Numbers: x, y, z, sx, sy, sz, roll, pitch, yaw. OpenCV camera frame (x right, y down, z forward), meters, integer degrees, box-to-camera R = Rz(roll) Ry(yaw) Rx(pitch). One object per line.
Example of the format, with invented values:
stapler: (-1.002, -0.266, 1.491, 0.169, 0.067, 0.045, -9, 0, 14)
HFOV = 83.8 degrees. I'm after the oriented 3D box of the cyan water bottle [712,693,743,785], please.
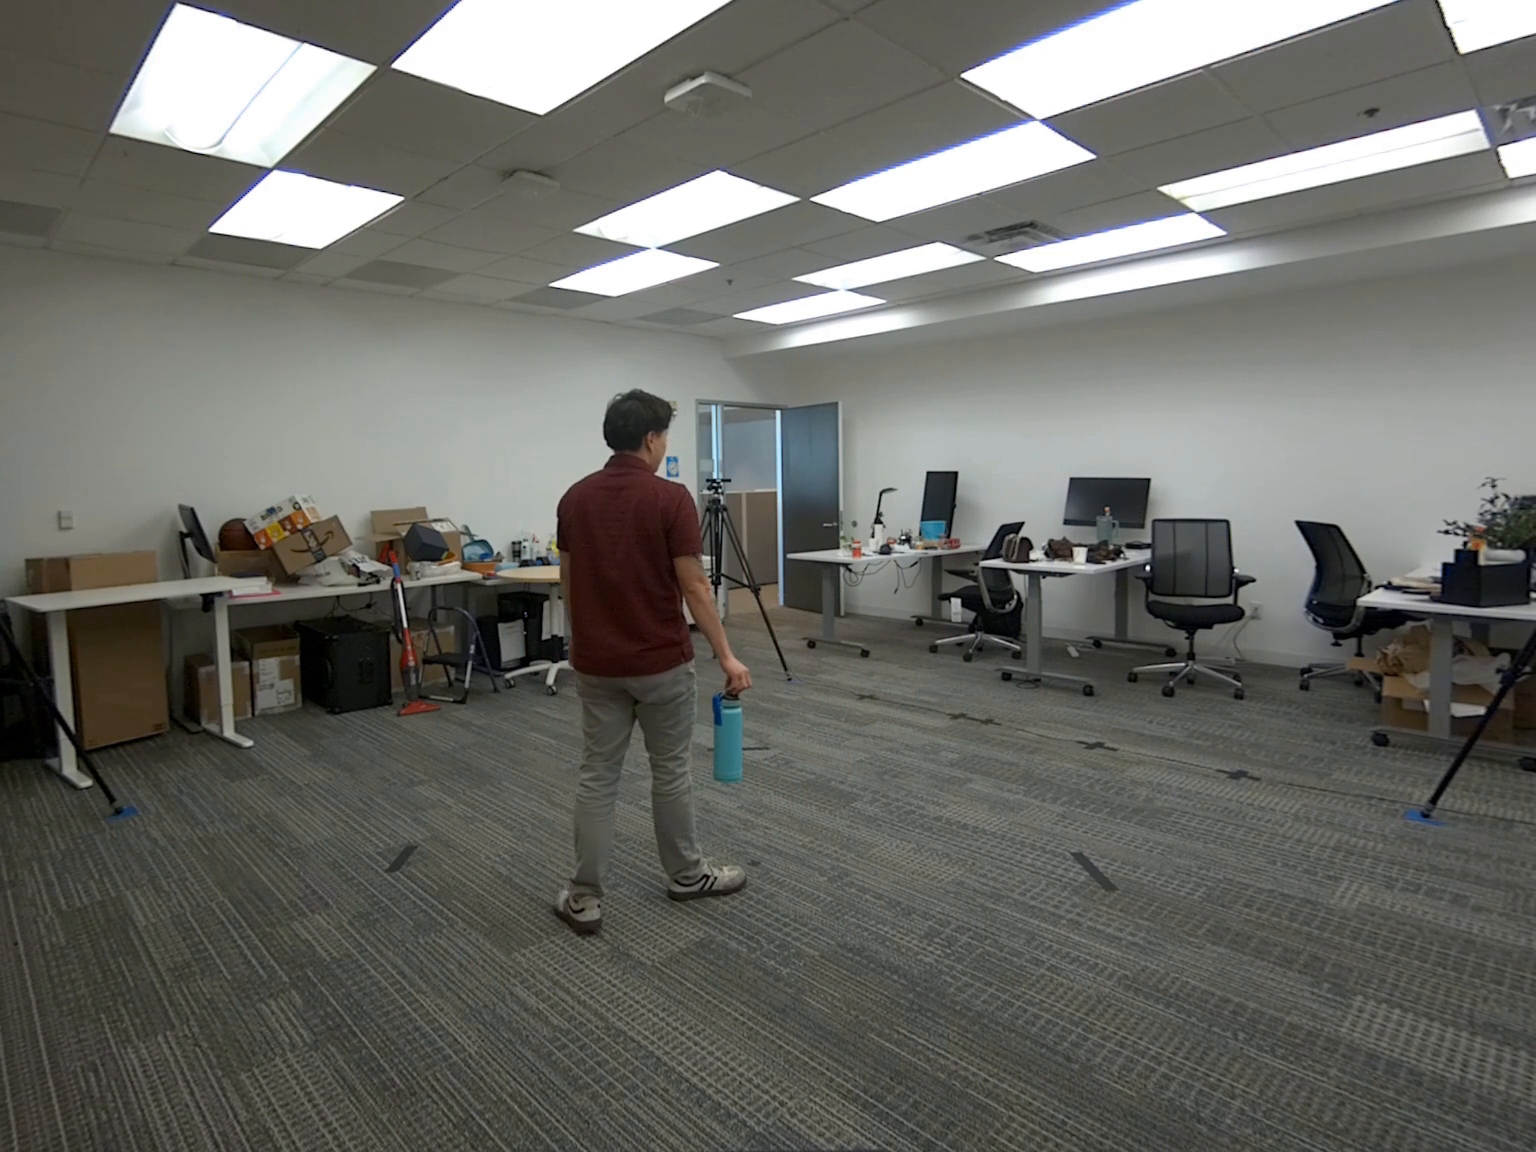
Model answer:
cyan water bottle: (-0.126, 0.491, 2.673, 0.092, 0.283, 0.092, 0, 2, -2)
